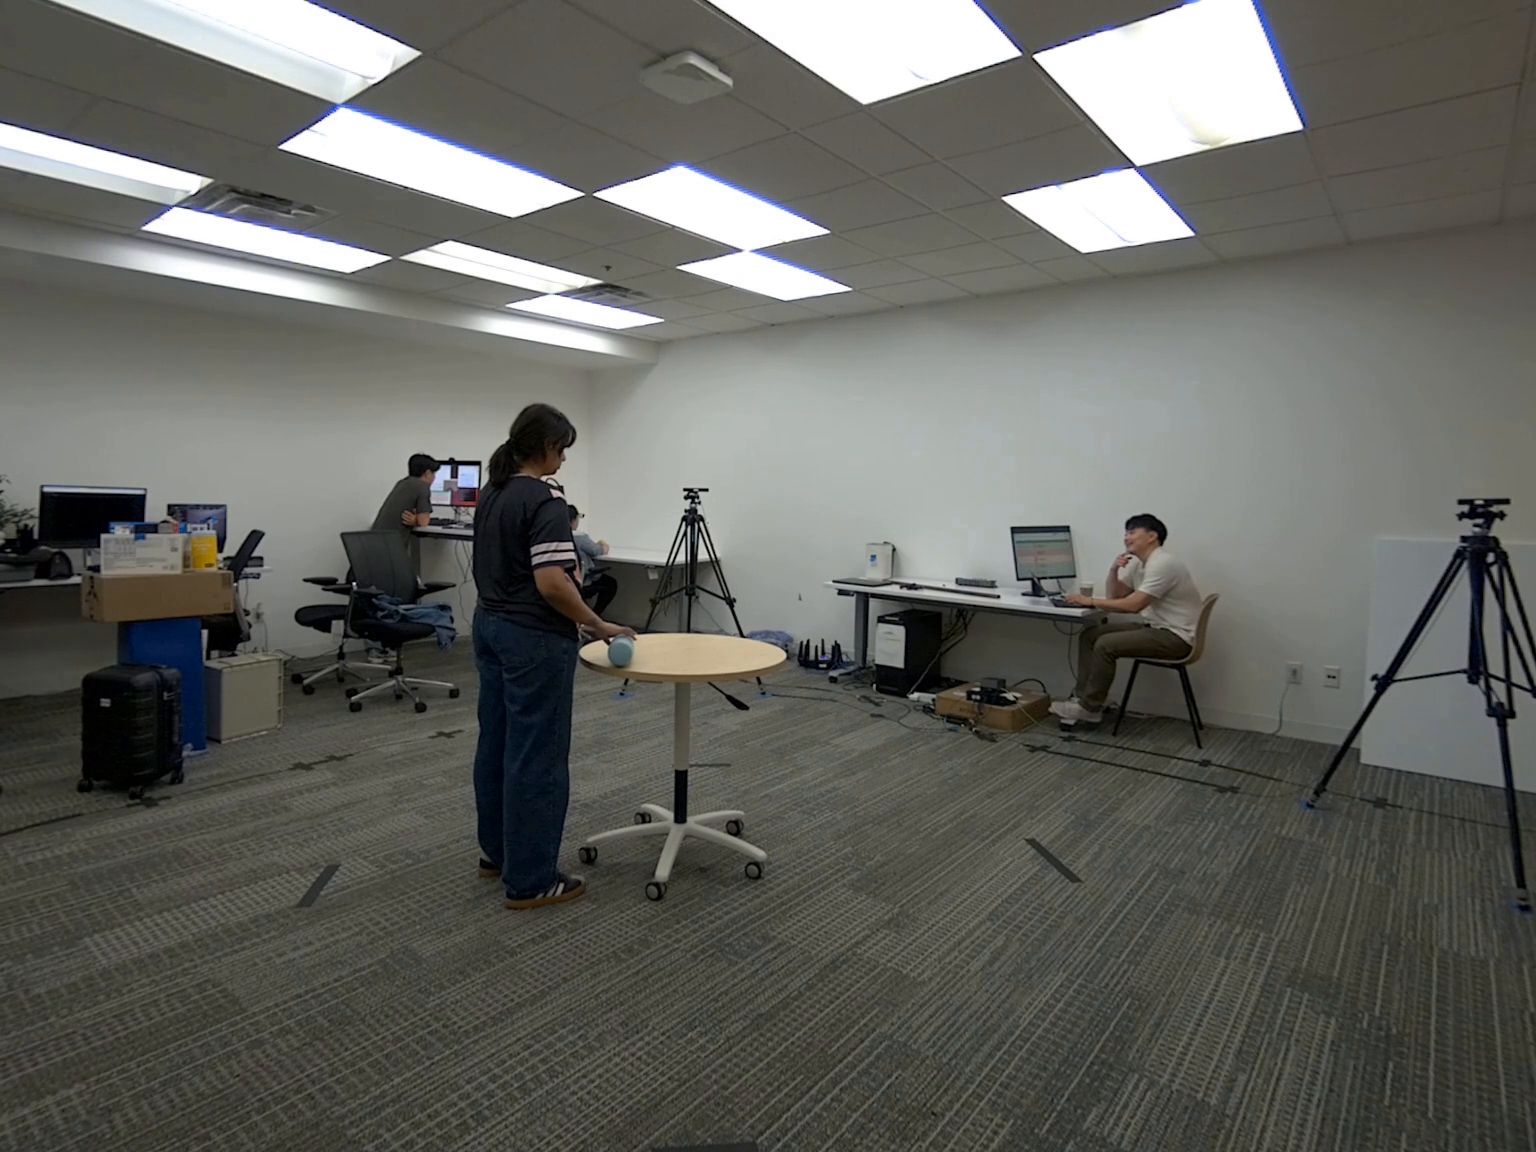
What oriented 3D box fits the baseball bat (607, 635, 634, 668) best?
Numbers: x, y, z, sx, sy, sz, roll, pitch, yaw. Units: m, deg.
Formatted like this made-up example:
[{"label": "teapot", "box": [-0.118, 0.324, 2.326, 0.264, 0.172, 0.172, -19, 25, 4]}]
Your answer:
[{"label": "baseball bat", "box": [-0.542, 0.247, 3.088, 0.088, 0.089, 0.549, 0, 4, -9]}]
